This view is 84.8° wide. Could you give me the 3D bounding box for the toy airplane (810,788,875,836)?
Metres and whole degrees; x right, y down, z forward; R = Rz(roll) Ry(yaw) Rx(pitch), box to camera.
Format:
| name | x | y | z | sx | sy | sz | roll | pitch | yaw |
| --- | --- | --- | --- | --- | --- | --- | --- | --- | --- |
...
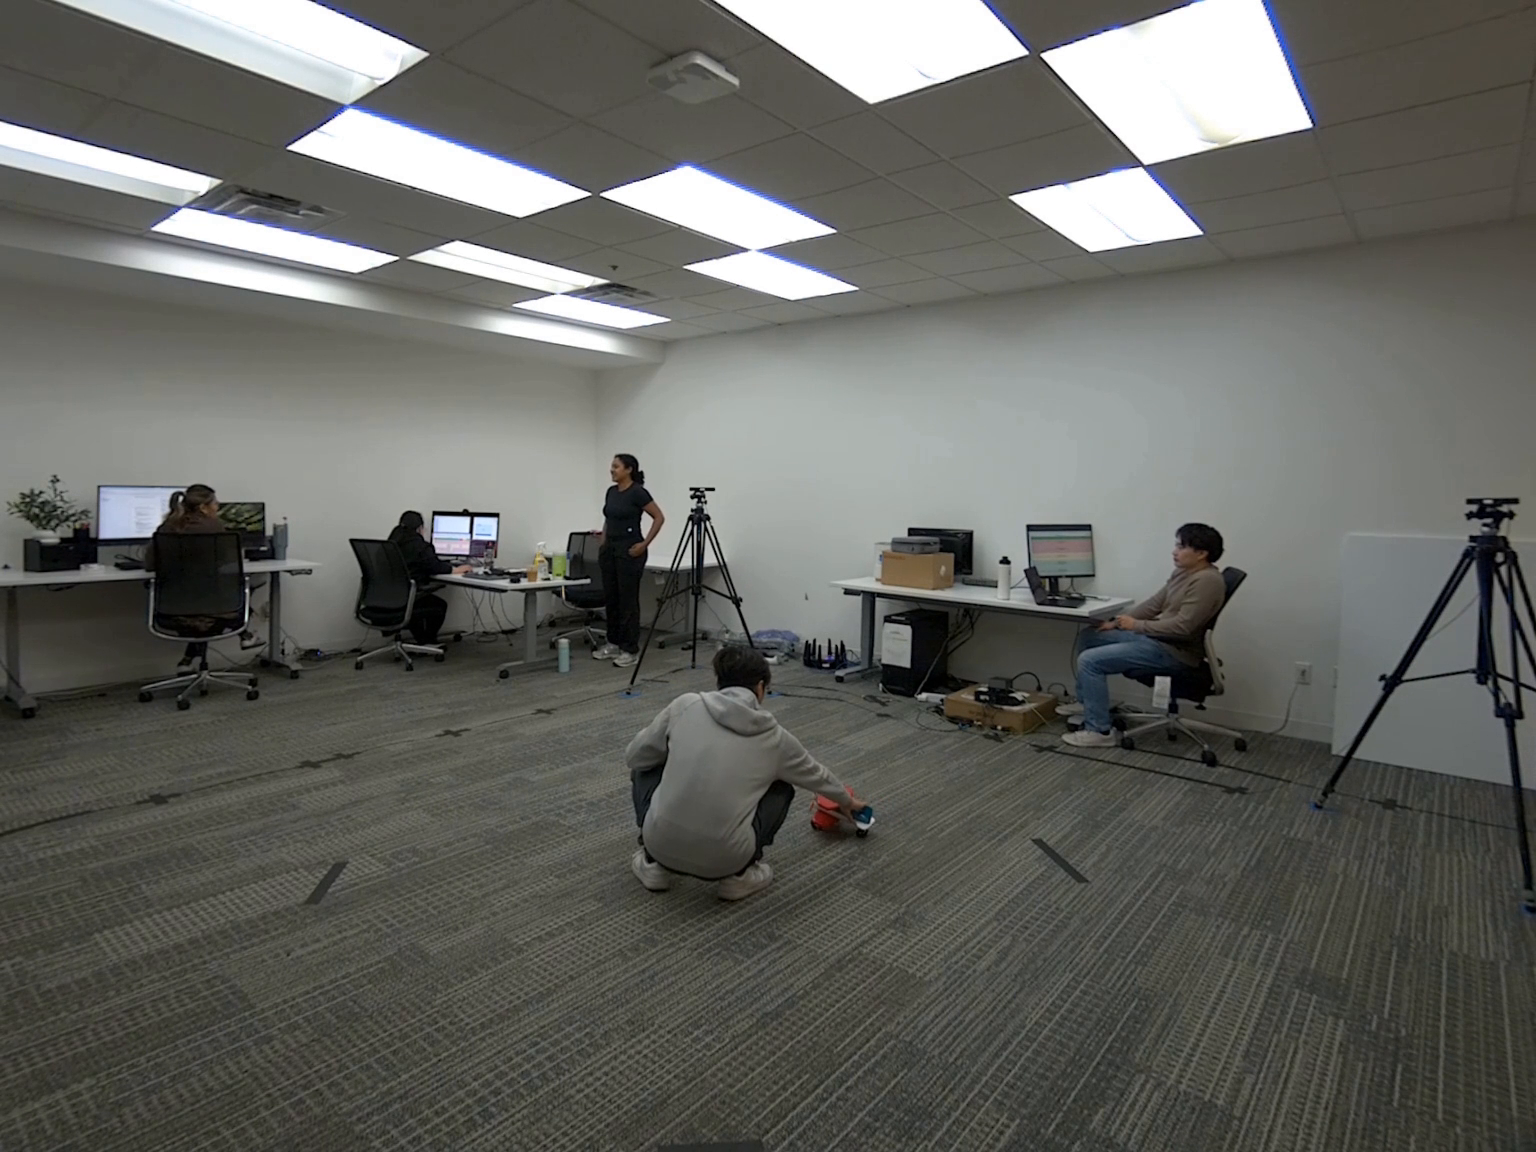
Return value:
| name | x | y | z | sx | sy | sz | roll | pitch | yaw |
| --- | --- | --- | --- | --- | --- | --- | --- | --- | --- |
| toy airplane | 0.297 | 0.964 | 3.505 | 0.259 | 0.156 | 0.252 | -1 | 5 | 0 |
